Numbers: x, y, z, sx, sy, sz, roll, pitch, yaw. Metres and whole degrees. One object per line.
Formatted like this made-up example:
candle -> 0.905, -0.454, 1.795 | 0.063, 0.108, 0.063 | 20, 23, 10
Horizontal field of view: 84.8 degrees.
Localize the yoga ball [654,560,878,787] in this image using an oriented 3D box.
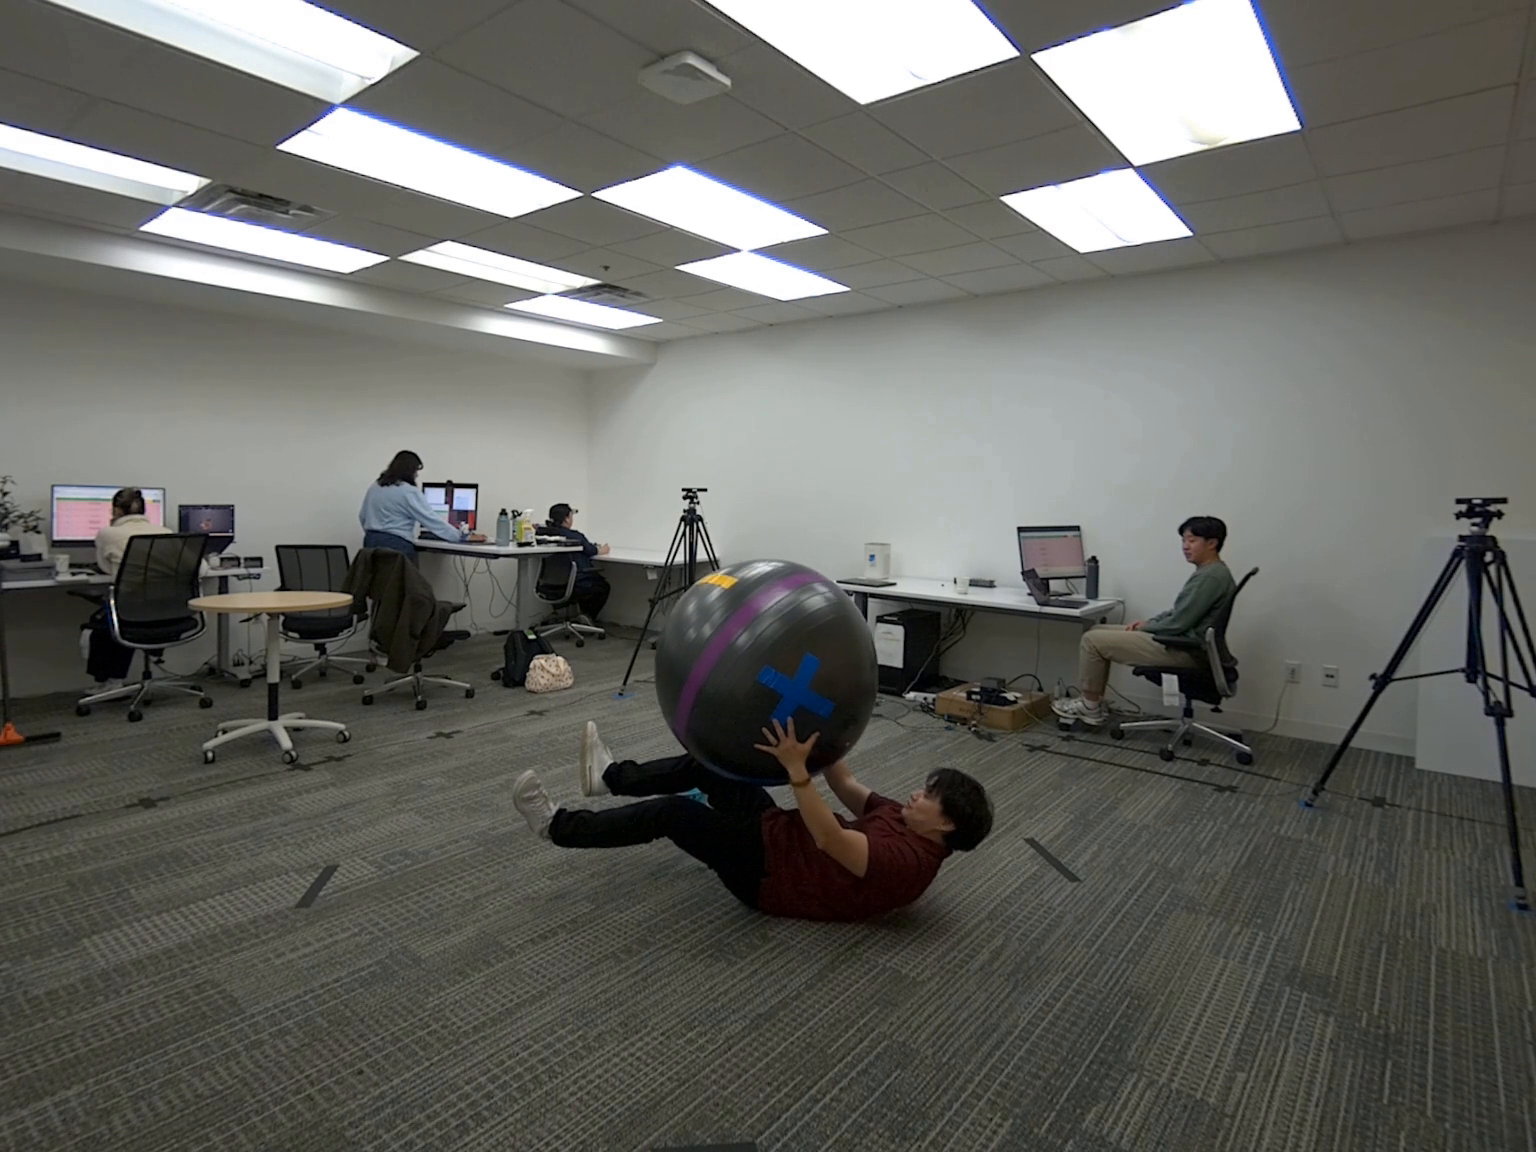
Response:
yoga ball -> -0.015, 0.325, 2.895 | 0.757, 0.755, 0.762 | 1, 4, -2
